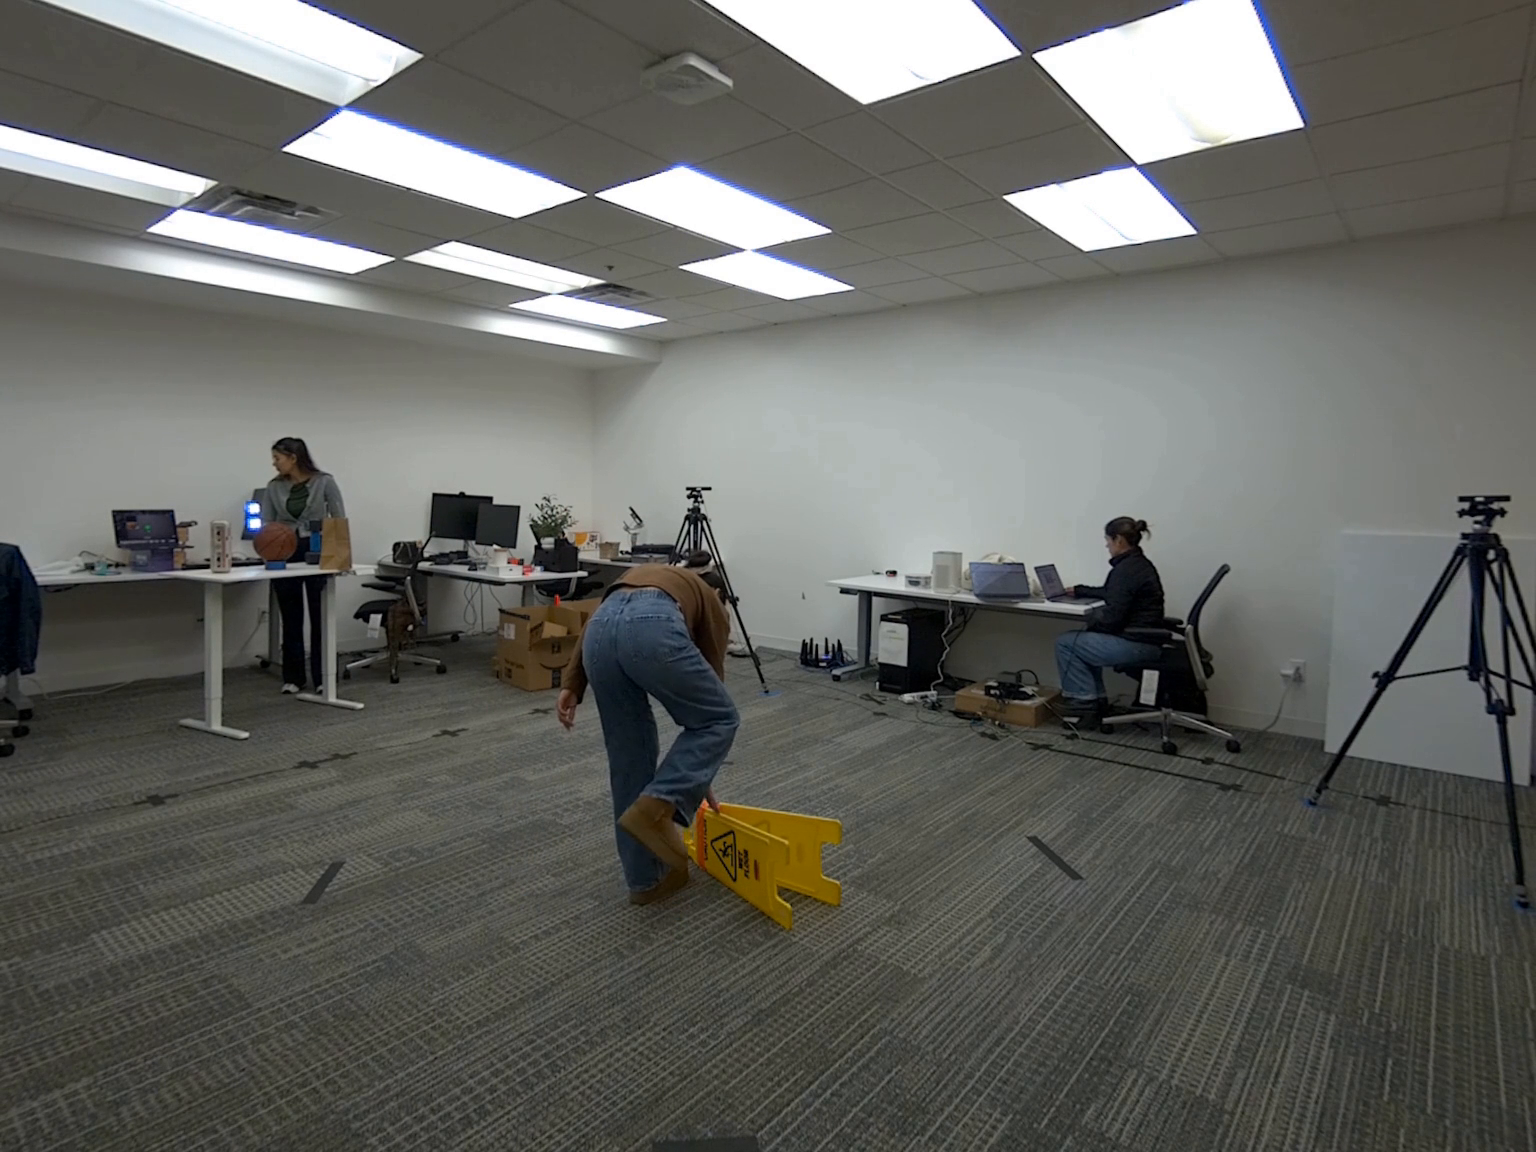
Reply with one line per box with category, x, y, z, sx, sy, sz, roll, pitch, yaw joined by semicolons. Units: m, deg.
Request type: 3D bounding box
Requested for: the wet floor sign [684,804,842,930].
wet floor sign;-0.095;0.952;2.986;0.667;0.282;0.281;2;4;44
